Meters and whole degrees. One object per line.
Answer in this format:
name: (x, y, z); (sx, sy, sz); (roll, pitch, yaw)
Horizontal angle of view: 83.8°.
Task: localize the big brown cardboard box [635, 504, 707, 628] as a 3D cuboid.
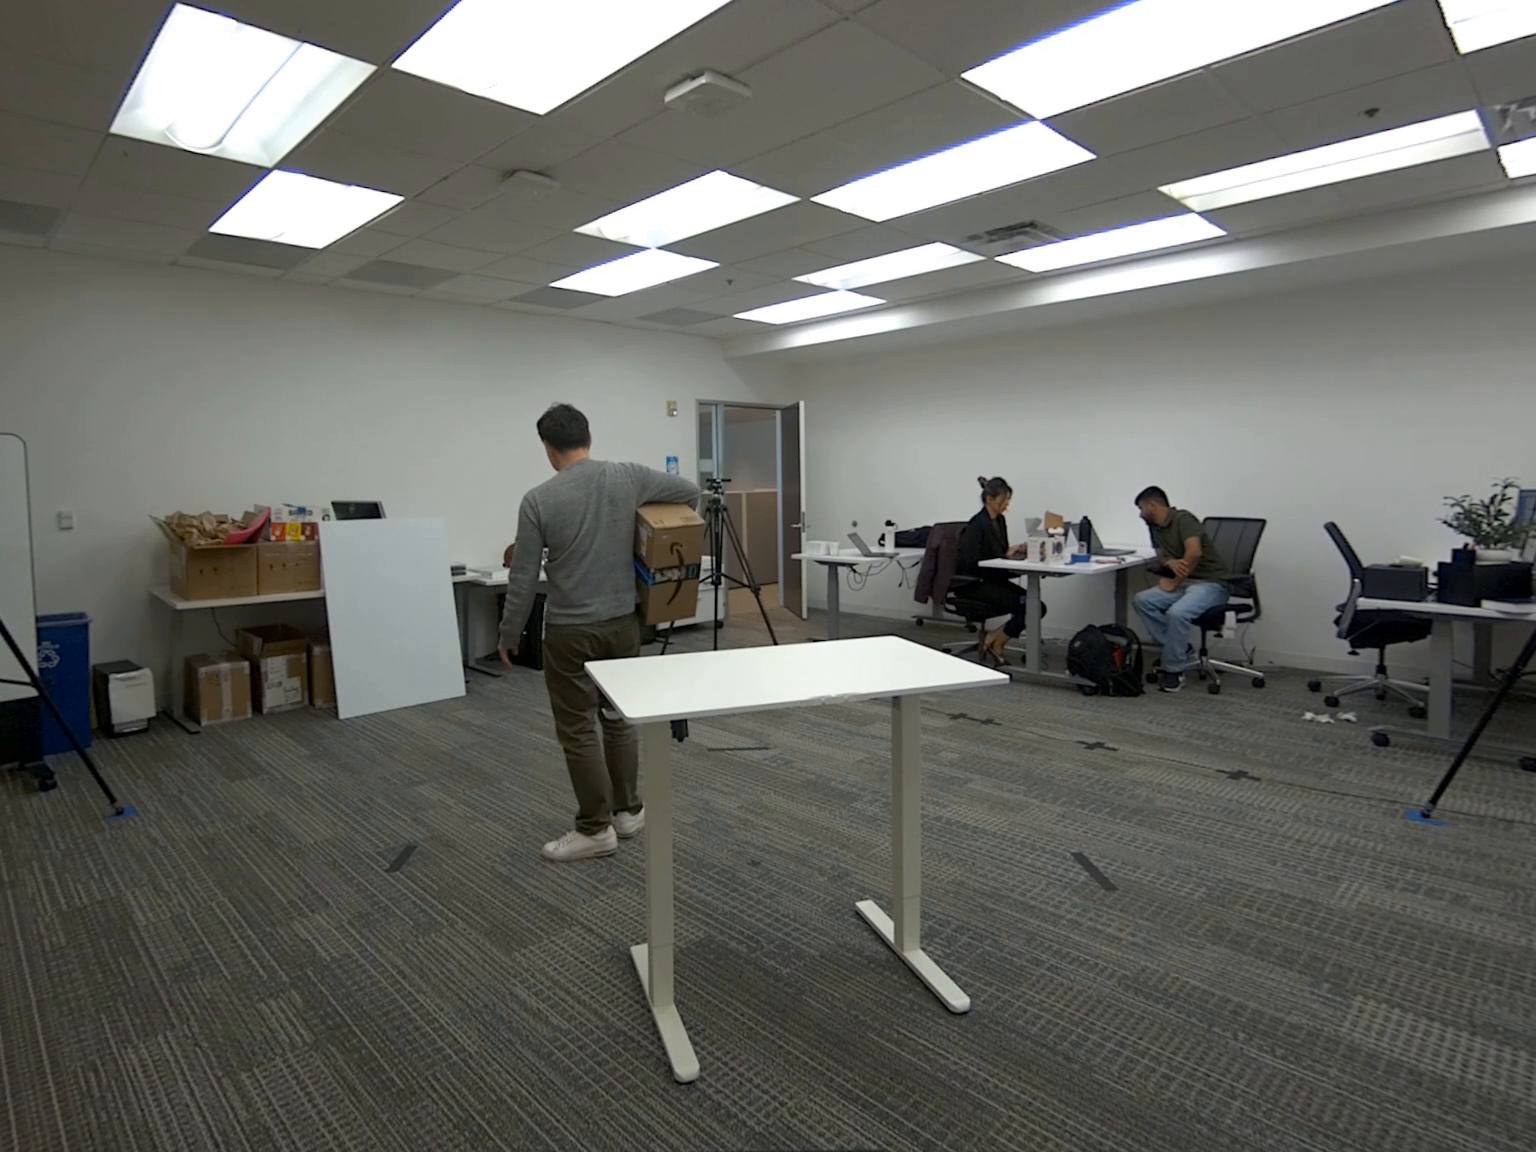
big brown cardboard box: (-0.485, -0.124, 3.434); (0.228, 0.410, 0.612); (-7, 28, -29)
